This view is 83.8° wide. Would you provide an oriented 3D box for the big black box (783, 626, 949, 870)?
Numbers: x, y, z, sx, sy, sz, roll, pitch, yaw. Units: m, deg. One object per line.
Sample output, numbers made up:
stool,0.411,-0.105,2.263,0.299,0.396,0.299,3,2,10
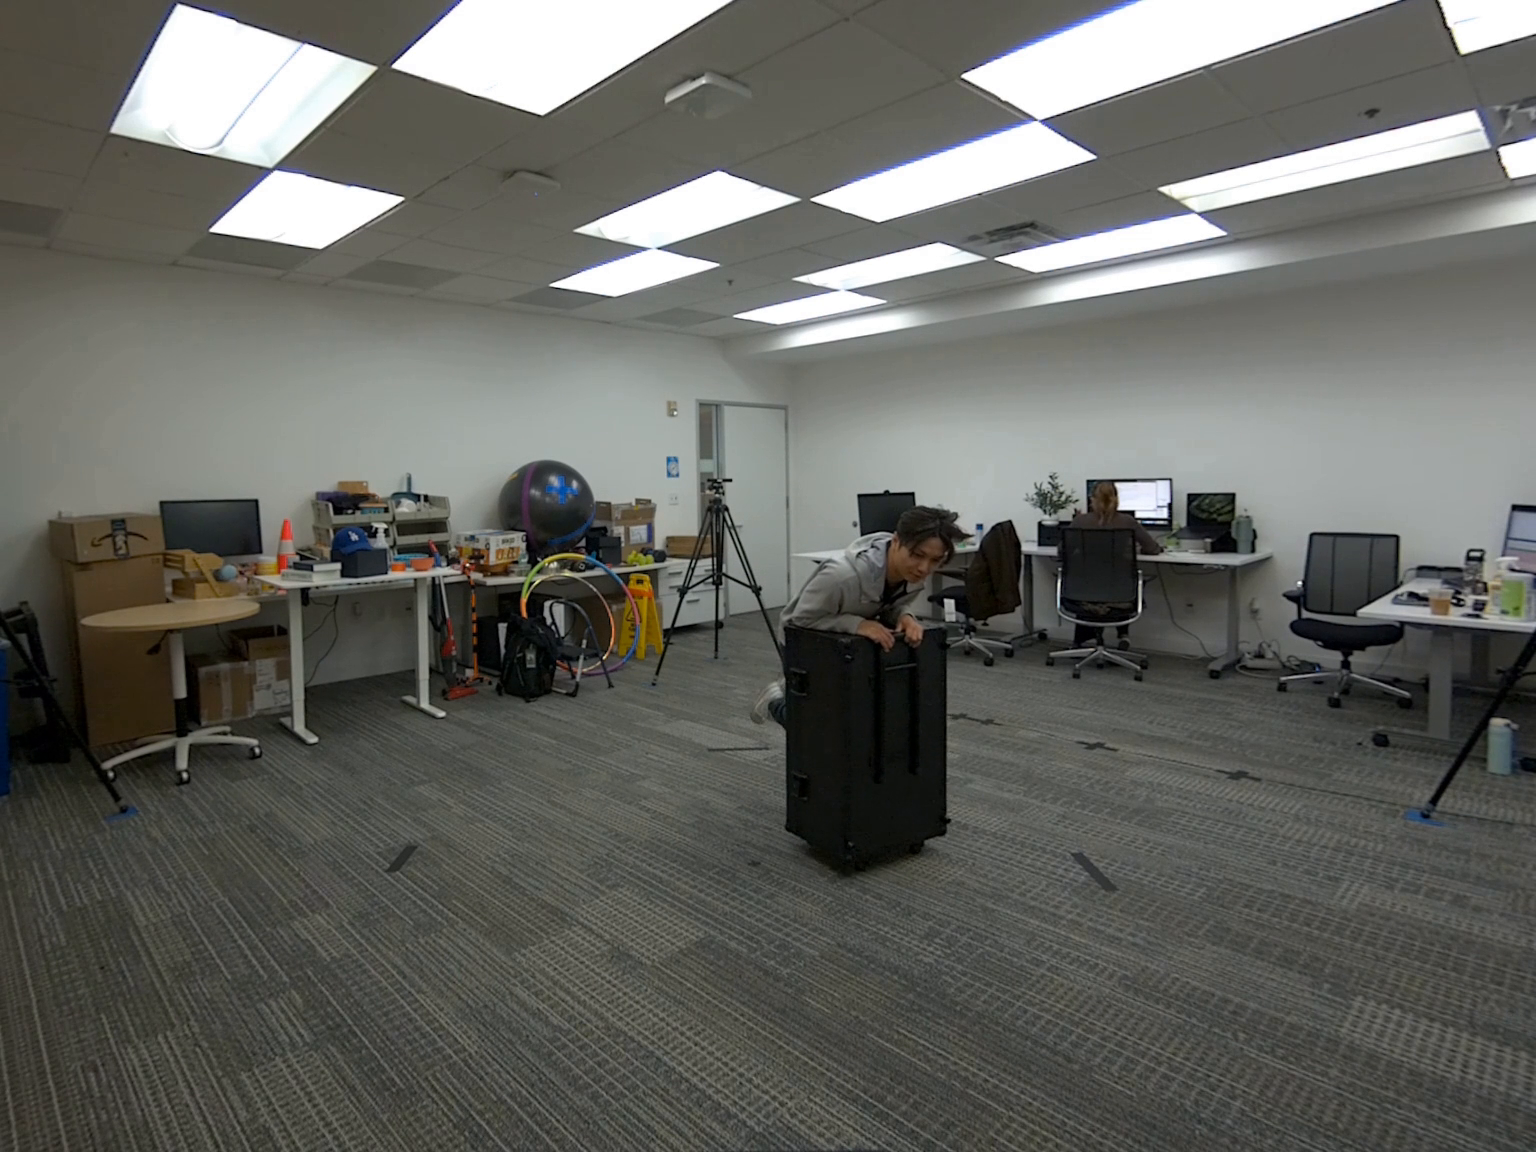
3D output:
big black box,0.375,0.613,3.170,0.508,0.857,0.408,-3,6,-32
